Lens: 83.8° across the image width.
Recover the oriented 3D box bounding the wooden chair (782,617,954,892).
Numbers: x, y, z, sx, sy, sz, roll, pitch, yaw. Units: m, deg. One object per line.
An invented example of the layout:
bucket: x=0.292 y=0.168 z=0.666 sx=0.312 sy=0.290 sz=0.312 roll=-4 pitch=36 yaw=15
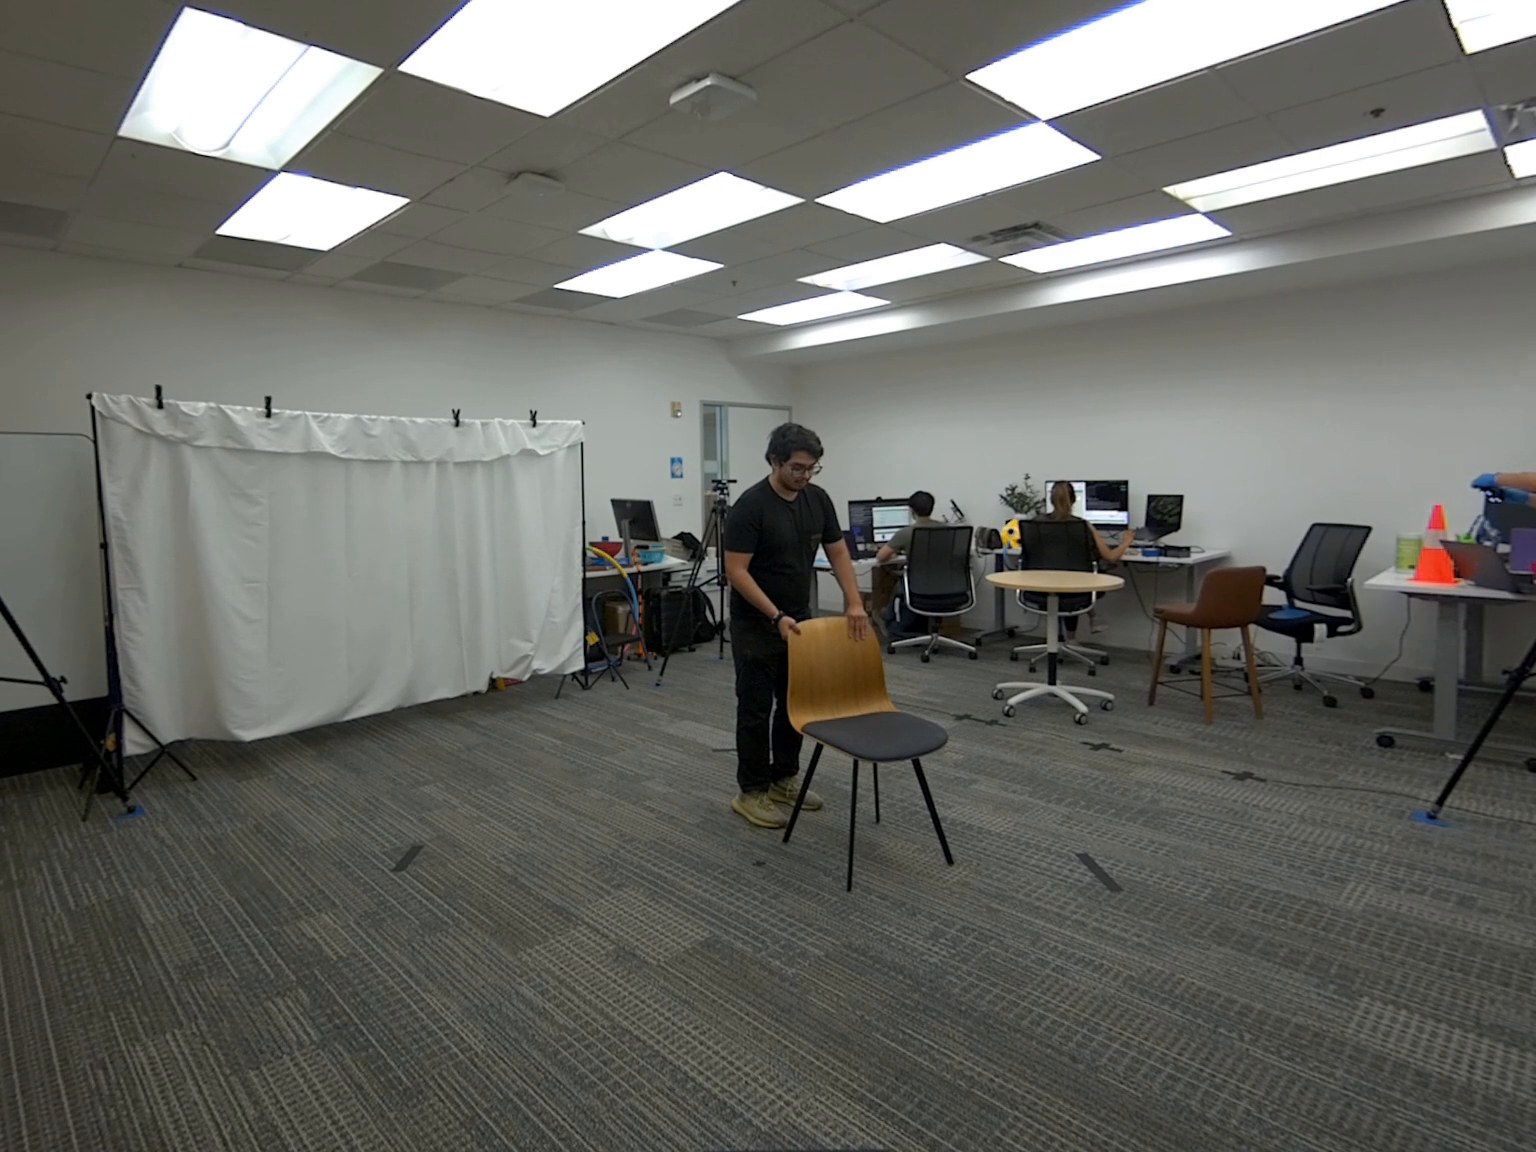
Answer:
wooden chair: x=0.359 y=0.609 z=3.143 sx=0.467 sy=0.878 sz=0.535 roll=-2 pitch=0 yaw=-28
